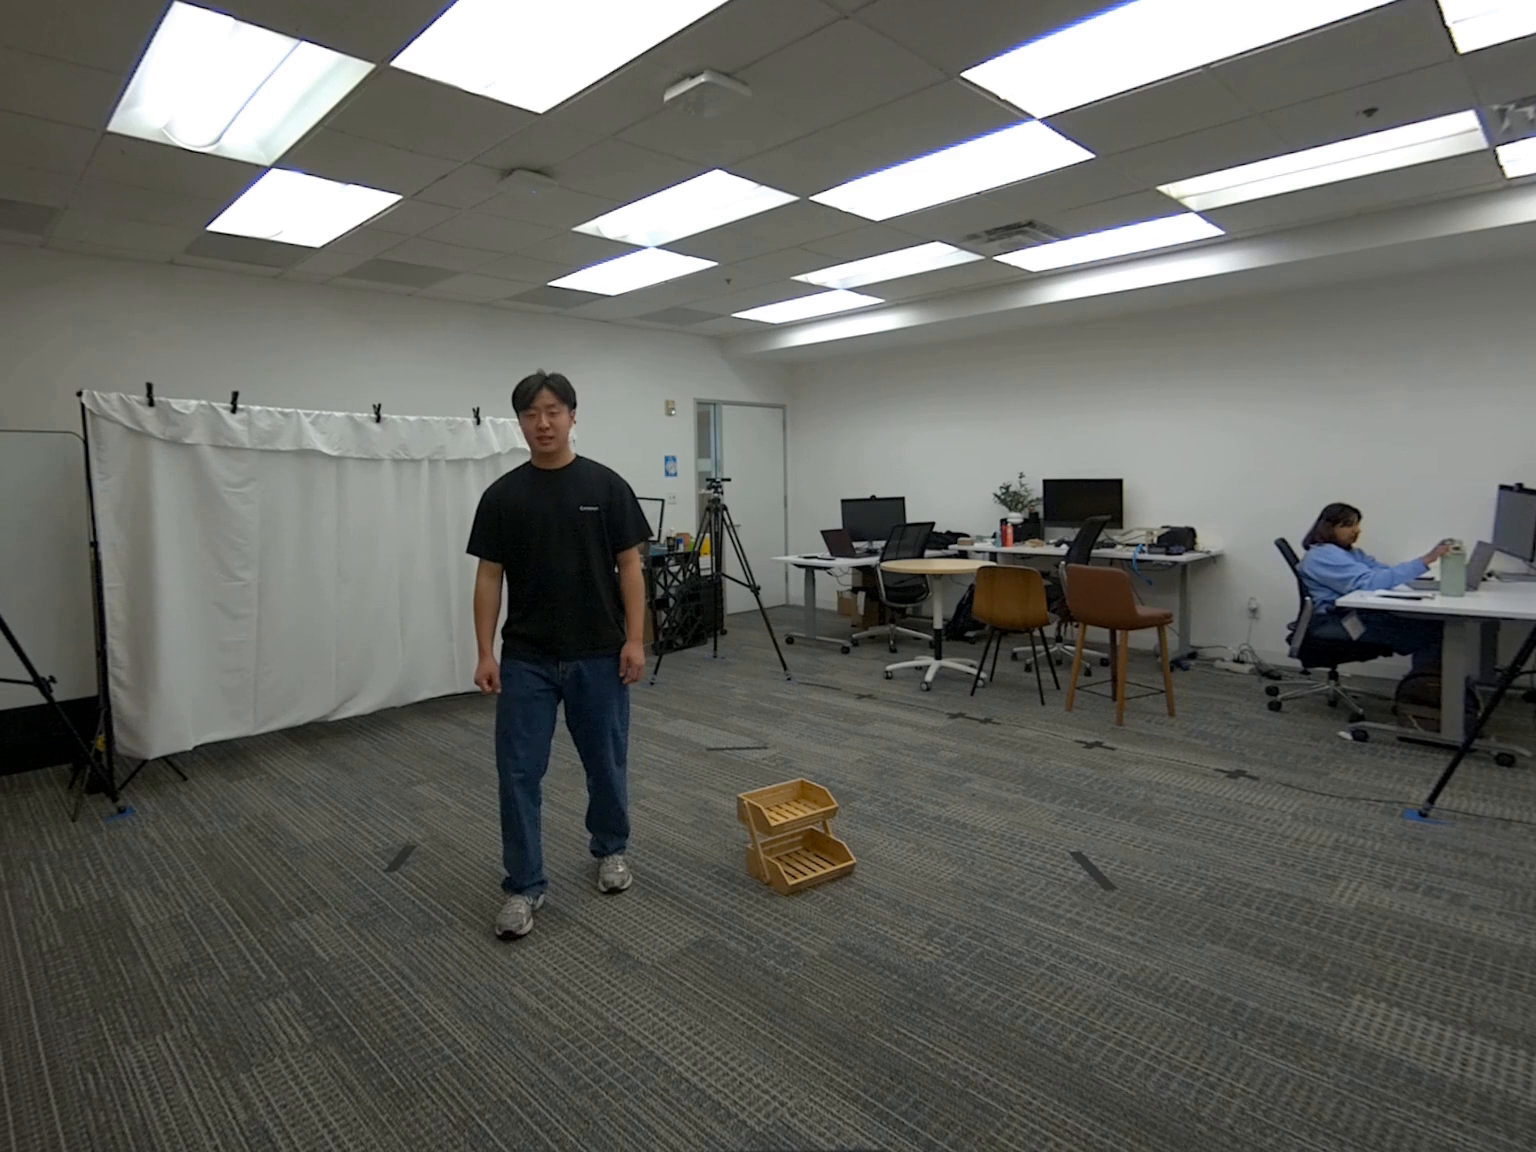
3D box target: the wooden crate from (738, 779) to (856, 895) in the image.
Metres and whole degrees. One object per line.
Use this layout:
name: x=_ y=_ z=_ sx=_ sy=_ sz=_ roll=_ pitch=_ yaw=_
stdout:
wooden crate: x=0.105 y=0.911 z=3.037 sx=0.316 sy=0.272 sz=0.311 roll=-5 pitch=5 yaw=-35
